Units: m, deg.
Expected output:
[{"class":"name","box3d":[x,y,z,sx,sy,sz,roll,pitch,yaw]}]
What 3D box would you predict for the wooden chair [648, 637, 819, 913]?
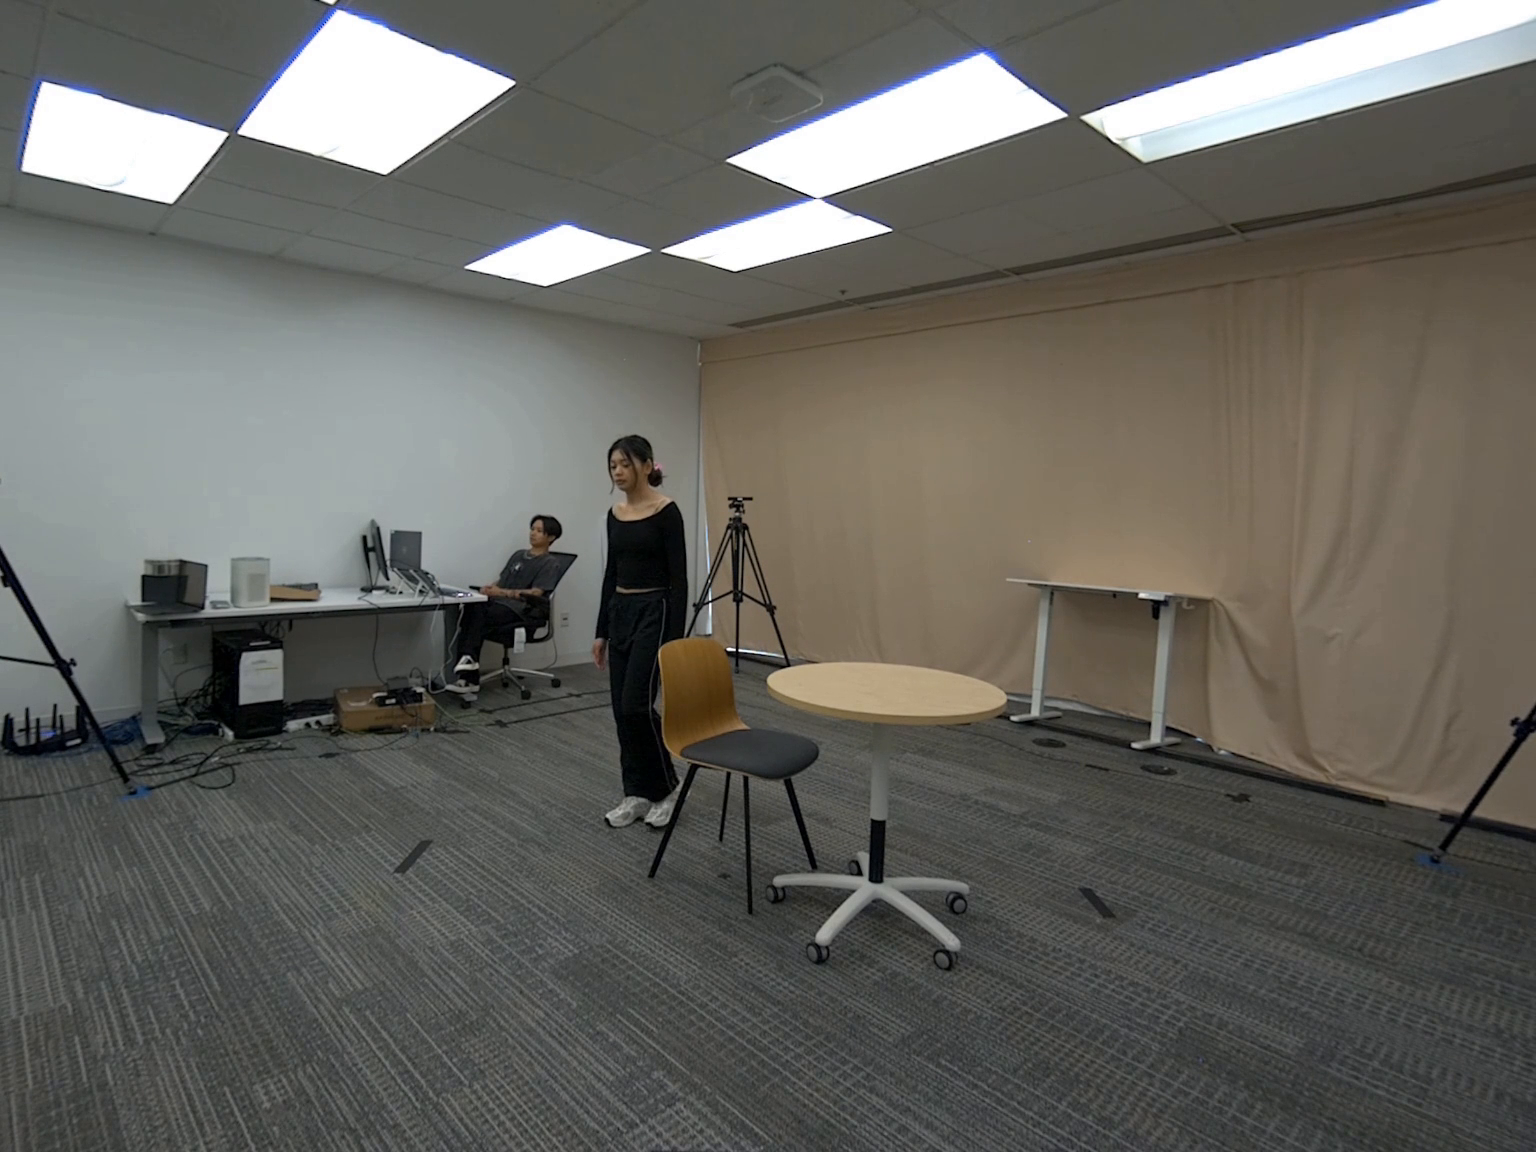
[{"class":"wooden chair","box3d":[-0.114,0.681,3.091,0.534,0.877,0.468,-2,1,35]}]
